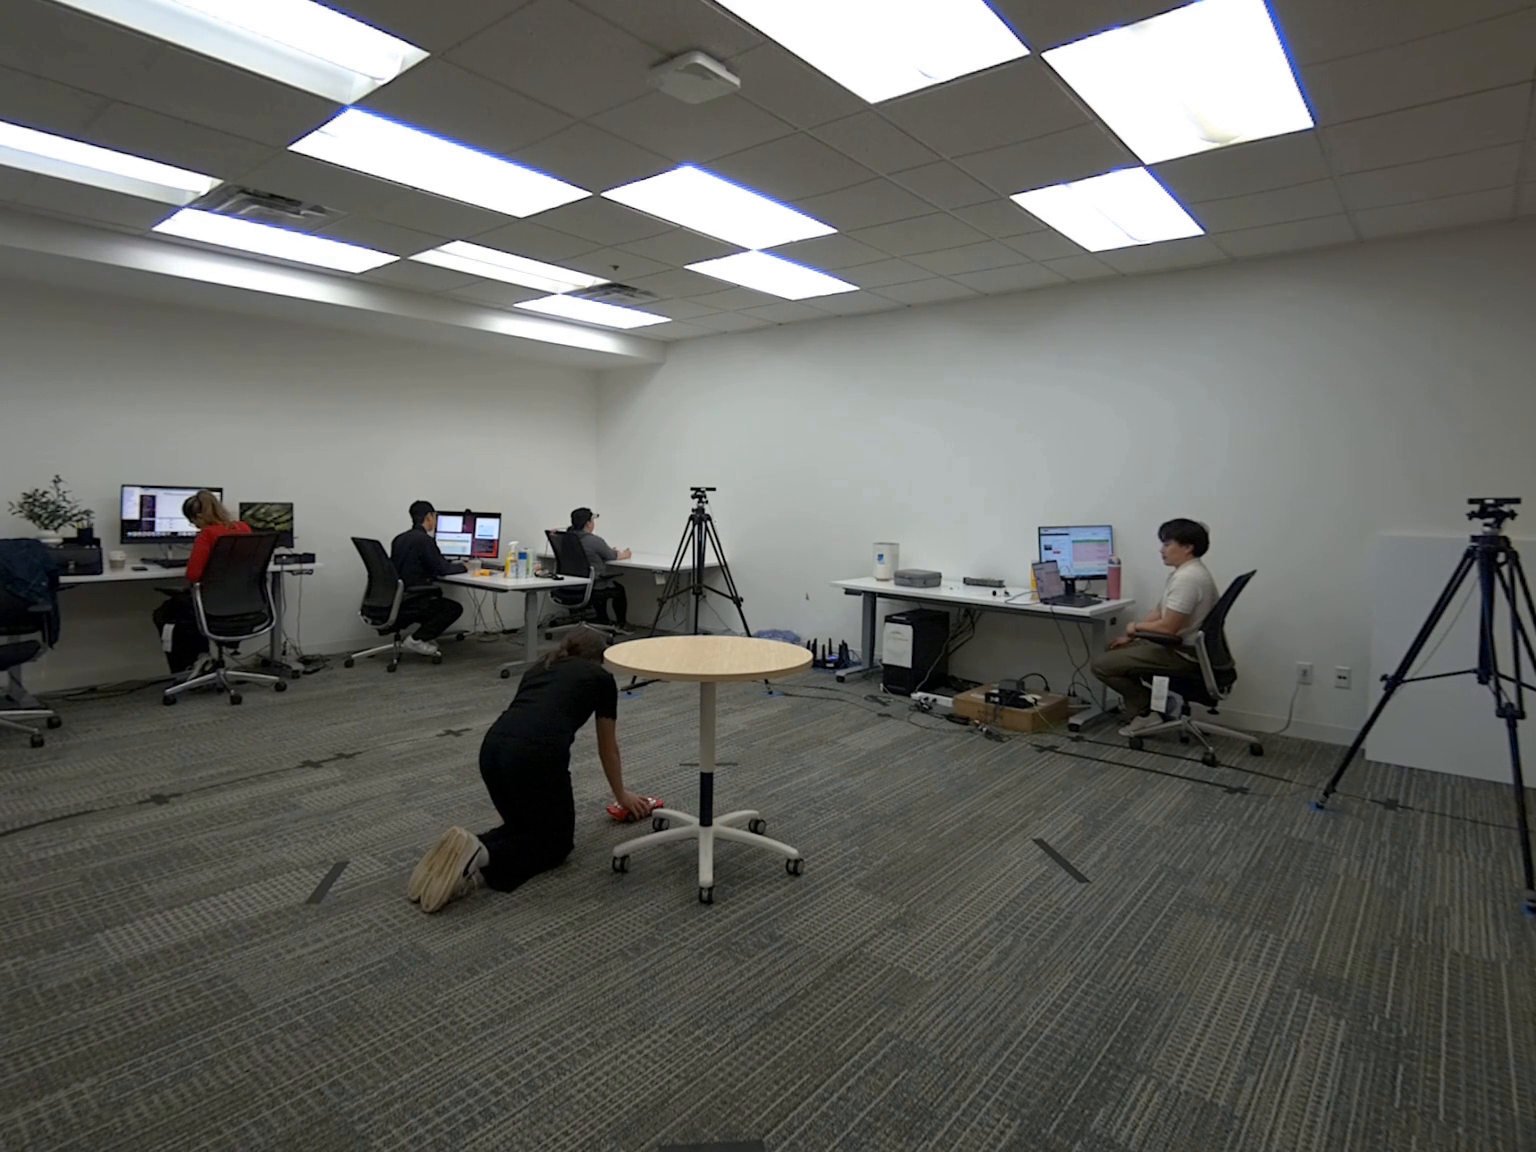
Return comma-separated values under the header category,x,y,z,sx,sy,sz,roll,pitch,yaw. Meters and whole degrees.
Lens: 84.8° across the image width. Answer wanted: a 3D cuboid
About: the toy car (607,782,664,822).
category,x,y,z,sx,sy,sz,roll,pitch,yaw
toy car,-0.586,0.984,3.598,0.246,0.083,0.135,9,-1,-38
